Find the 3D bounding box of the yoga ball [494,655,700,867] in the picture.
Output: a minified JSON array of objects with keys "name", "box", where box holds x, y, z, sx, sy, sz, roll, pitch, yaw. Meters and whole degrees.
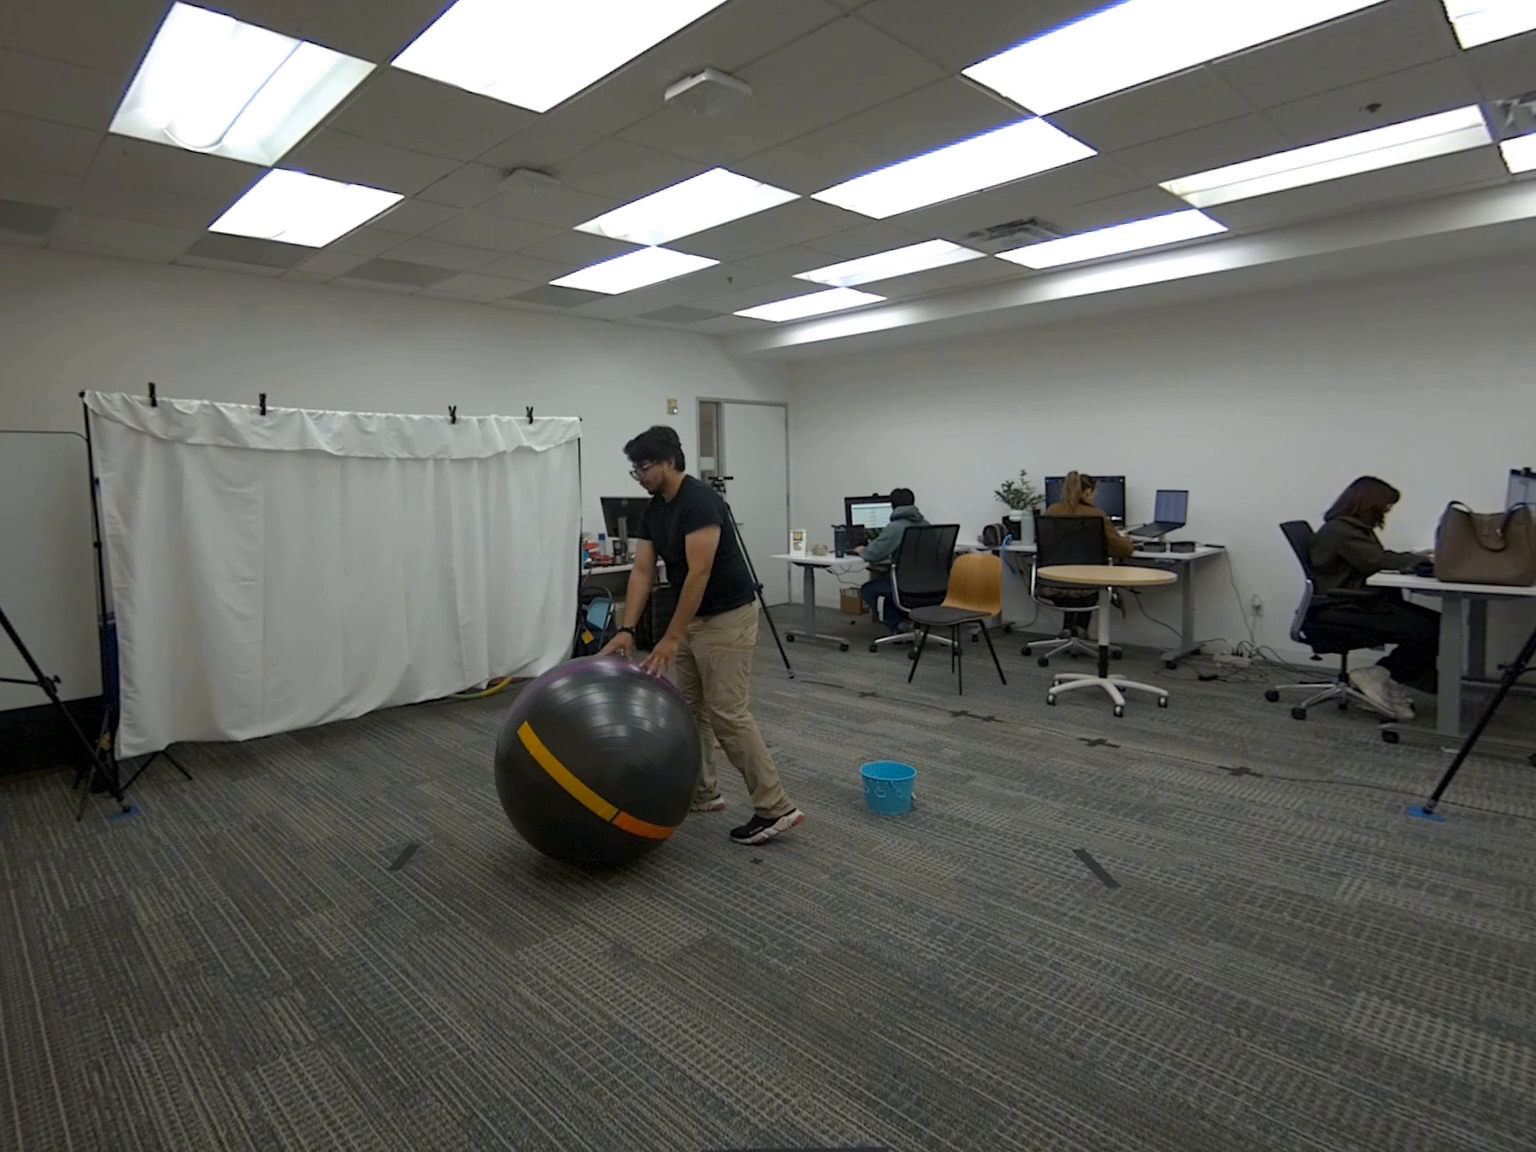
[{"name":"yoga ball","box":[-0.630,0.679,3.158,0.757,0.755,0.762,-1,5,-2]}]
